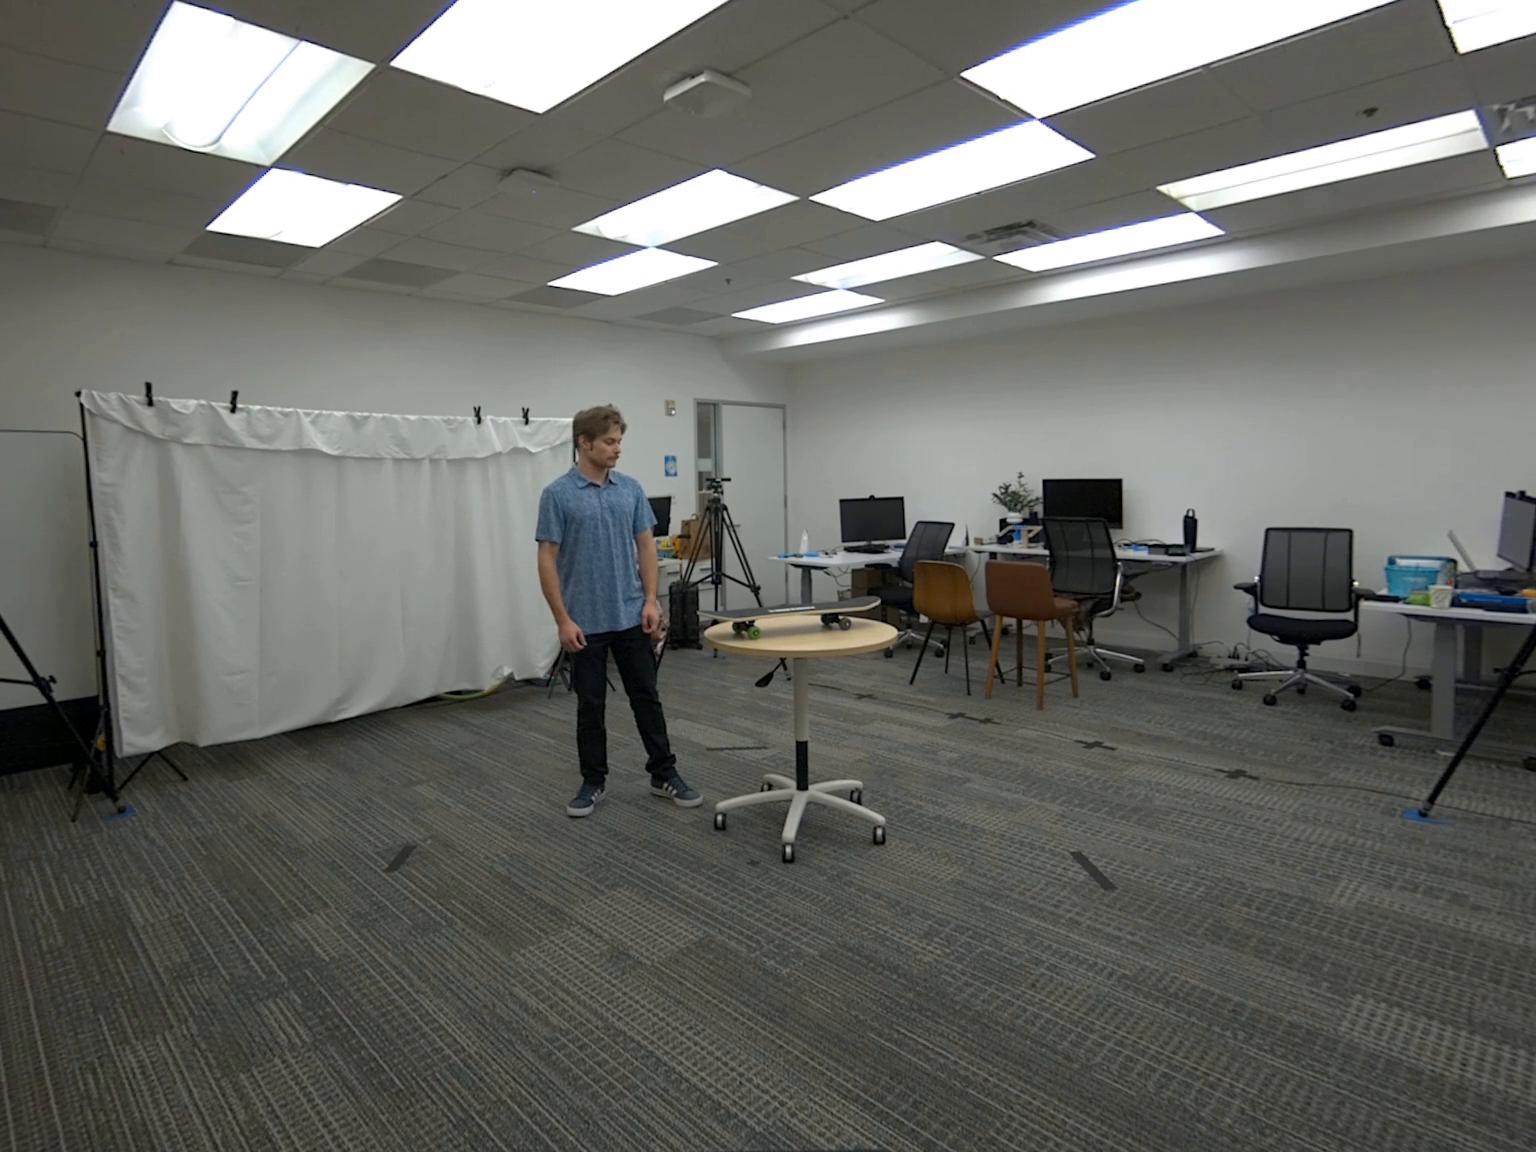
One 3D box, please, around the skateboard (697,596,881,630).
[{"bbox_3d":[0.097,0.172,3.403,0.771,0.110,0.198,-4,5,-21],"label":"skateboard"}]
